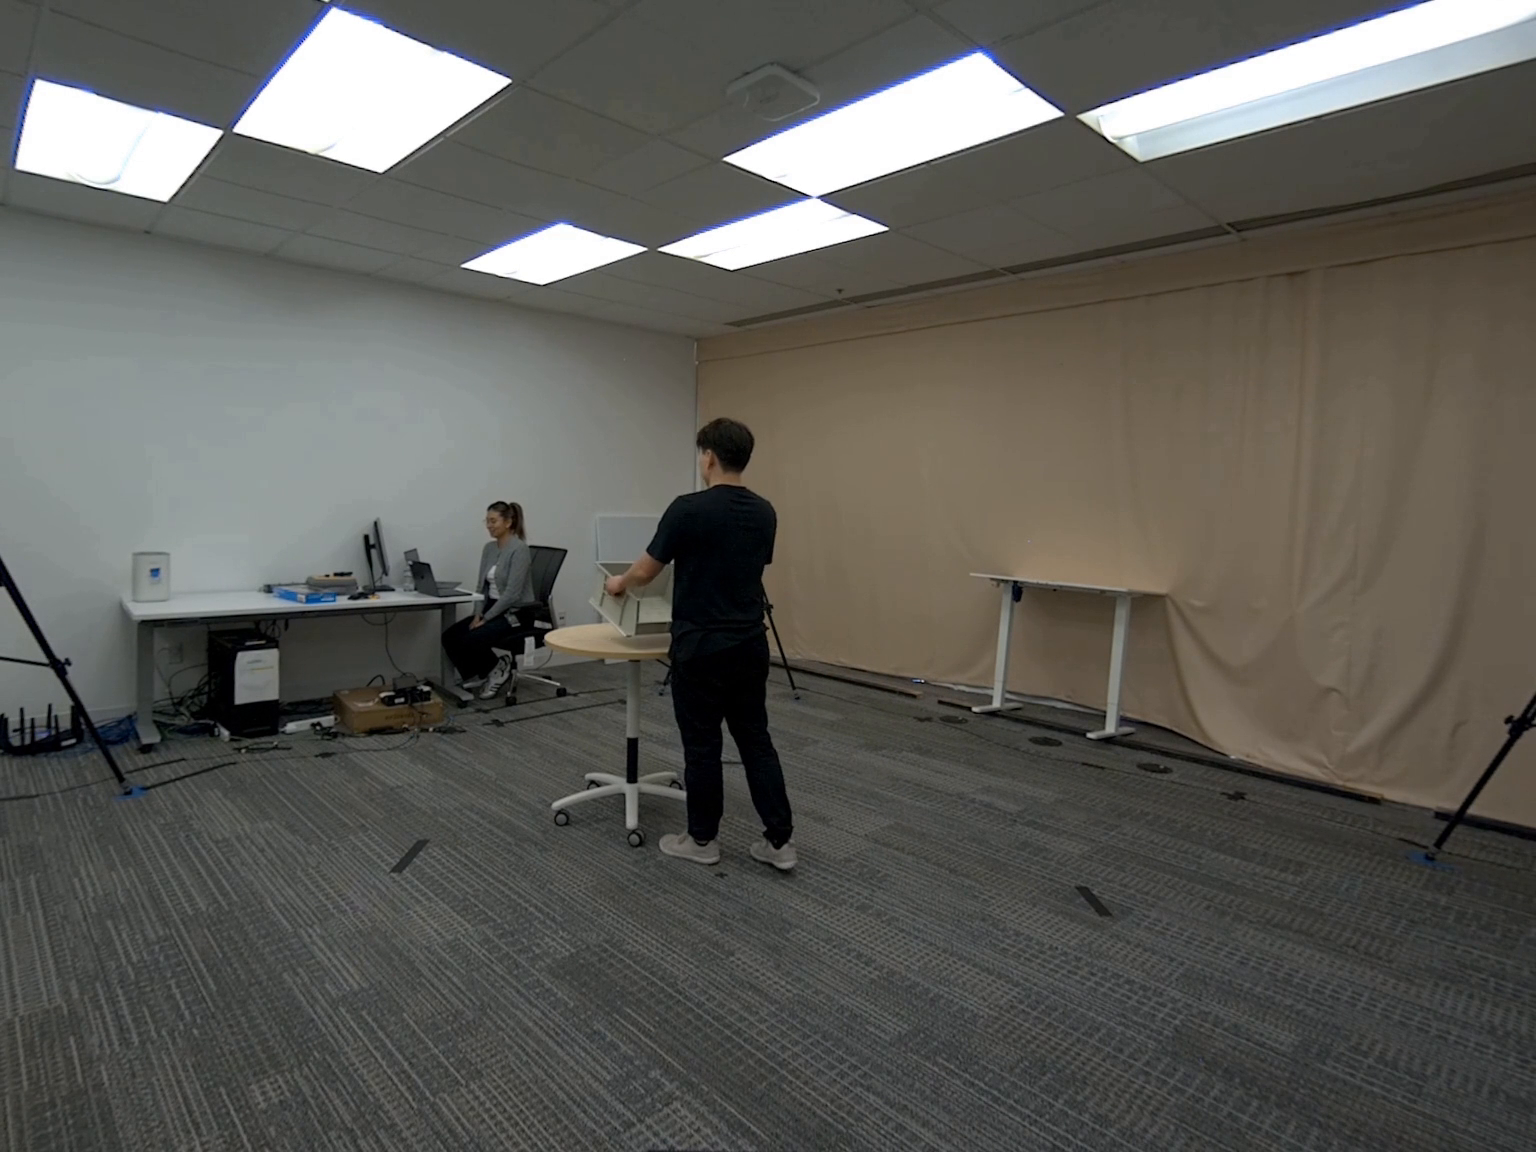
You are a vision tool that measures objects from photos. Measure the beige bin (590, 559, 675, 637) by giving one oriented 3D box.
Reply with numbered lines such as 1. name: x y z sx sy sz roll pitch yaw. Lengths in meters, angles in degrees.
1. beige bin: -0.467 0.101 3.525 0.412 0.187 0.389 0 23 -40
